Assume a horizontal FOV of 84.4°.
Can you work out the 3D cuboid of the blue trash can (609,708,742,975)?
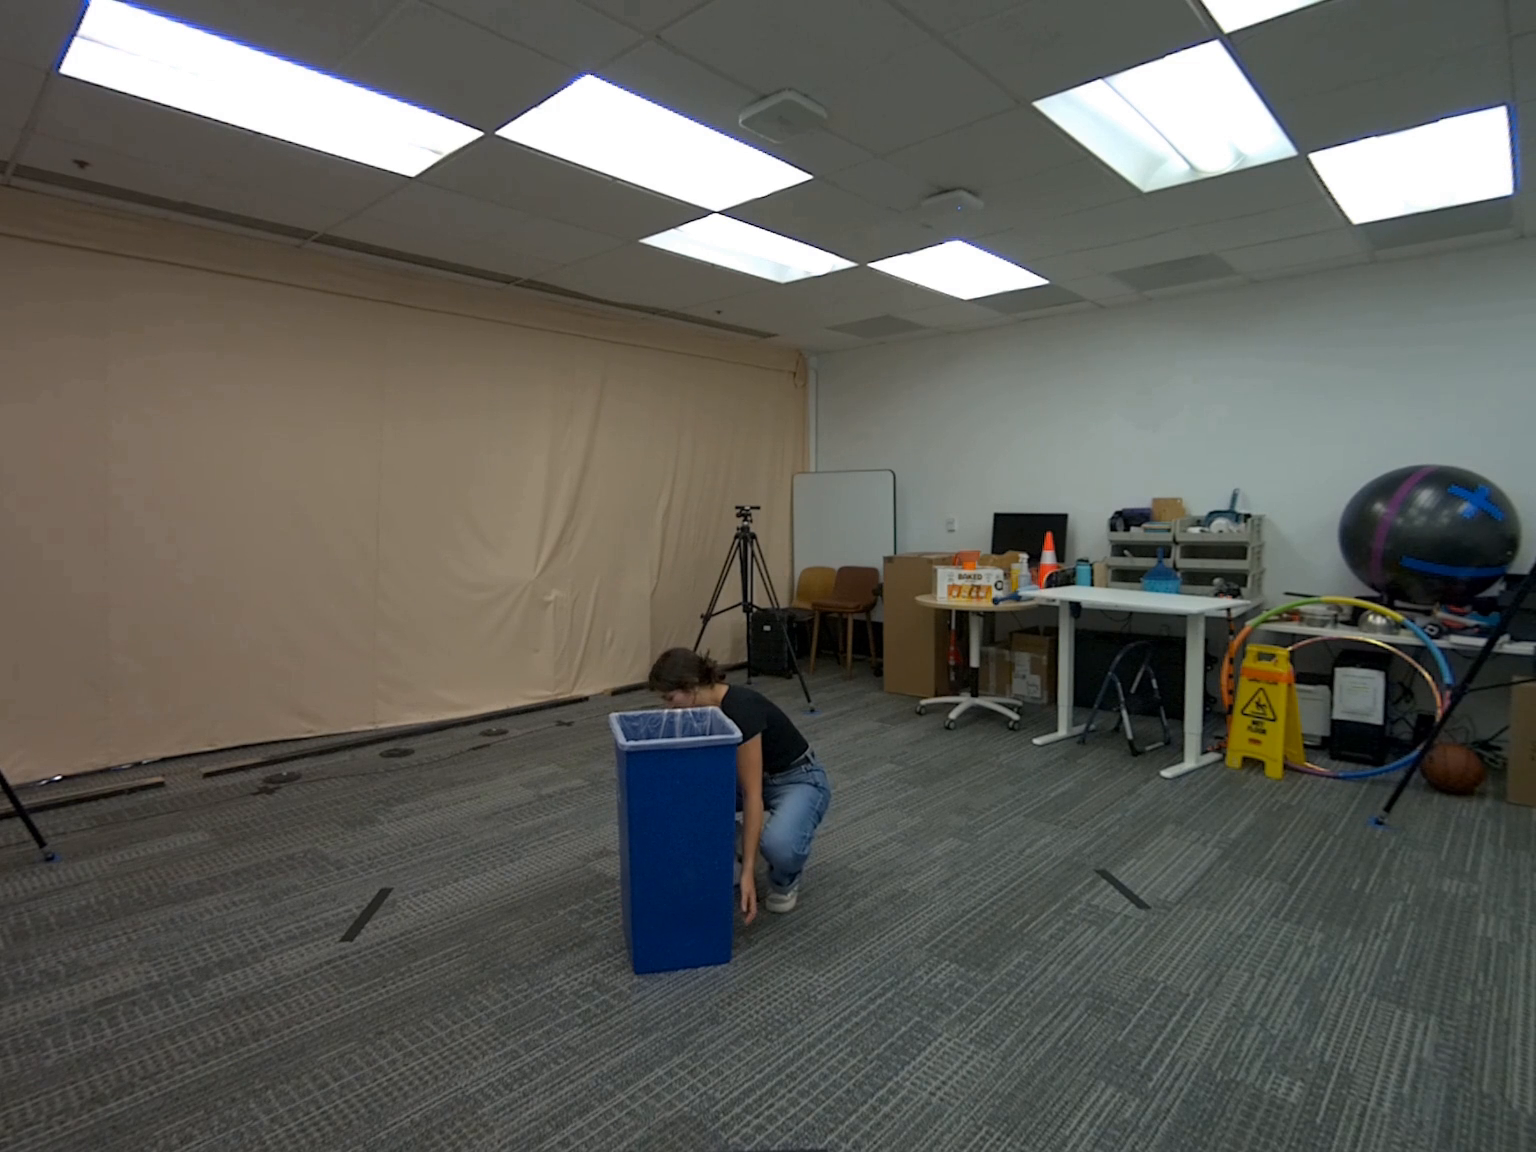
[{"bbox_3d":[-0.304,0.819,2.646,0.373,0.712,0.380,-2,3,-14],"label":"blue trash can"}]
